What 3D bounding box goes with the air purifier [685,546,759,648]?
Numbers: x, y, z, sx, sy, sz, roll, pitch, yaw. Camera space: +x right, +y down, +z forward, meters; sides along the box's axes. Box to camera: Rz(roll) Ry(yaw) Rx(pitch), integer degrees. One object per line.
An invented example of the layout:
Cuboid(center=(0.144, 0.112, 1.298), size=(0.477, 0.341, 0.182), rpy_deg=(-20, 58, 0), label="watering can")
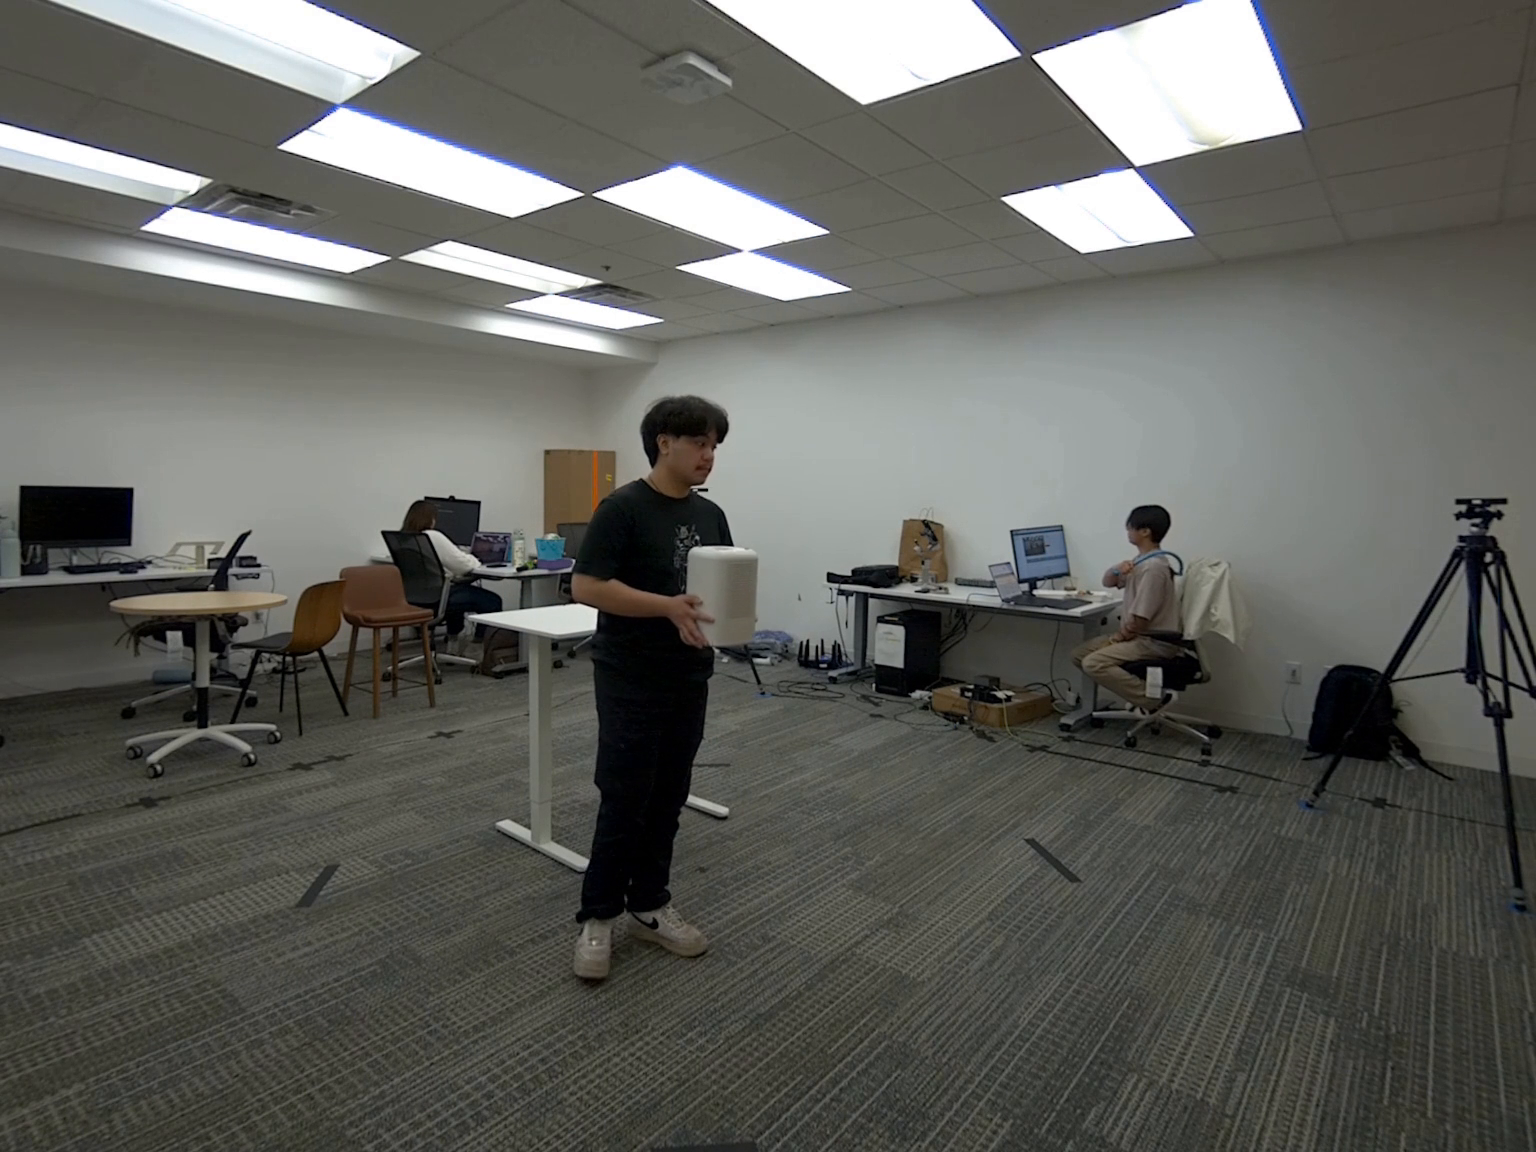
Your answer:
Cuboid(center=(-0.139, 0.051, 2.407), size=(0.166, 0.264, 0.177), rpy_deg=(-1, 7, -39), label="air purifier")
